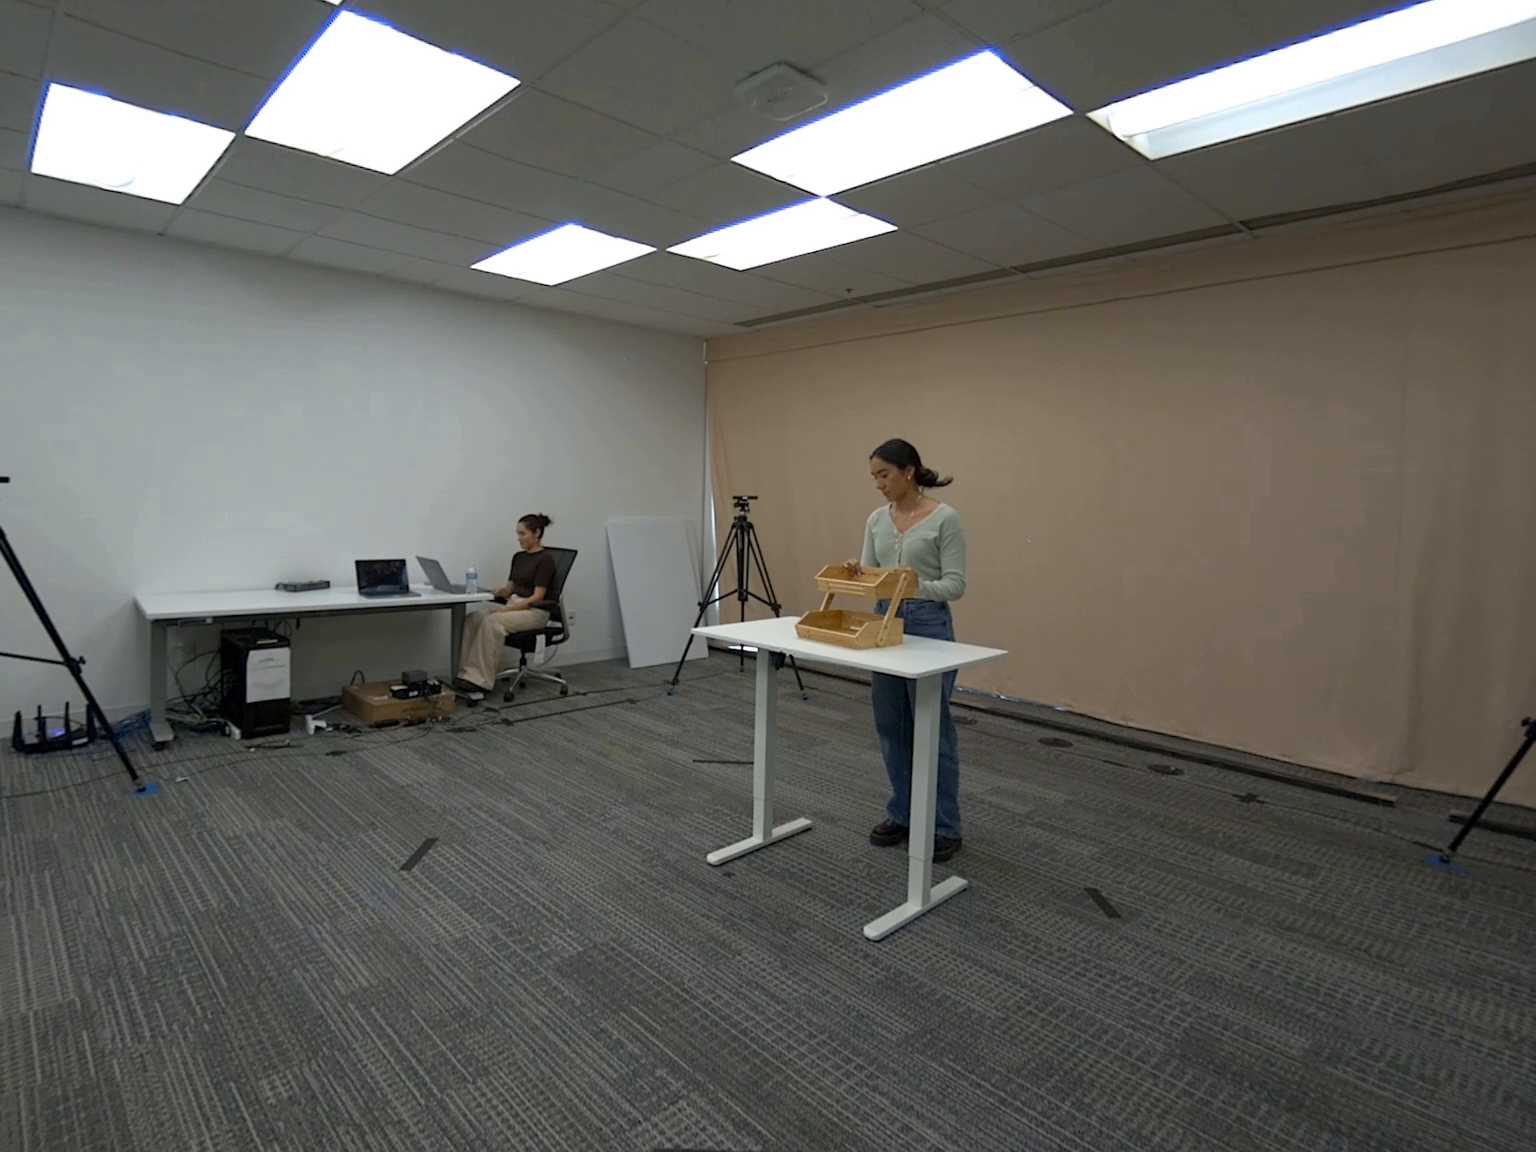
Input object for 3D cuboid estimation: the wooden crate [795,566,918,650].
[{"bbox_3d":[0.308,0.104,3.060,0.295,0.272,0.333,-1,5,-40],"label":"wooden crate"}]
